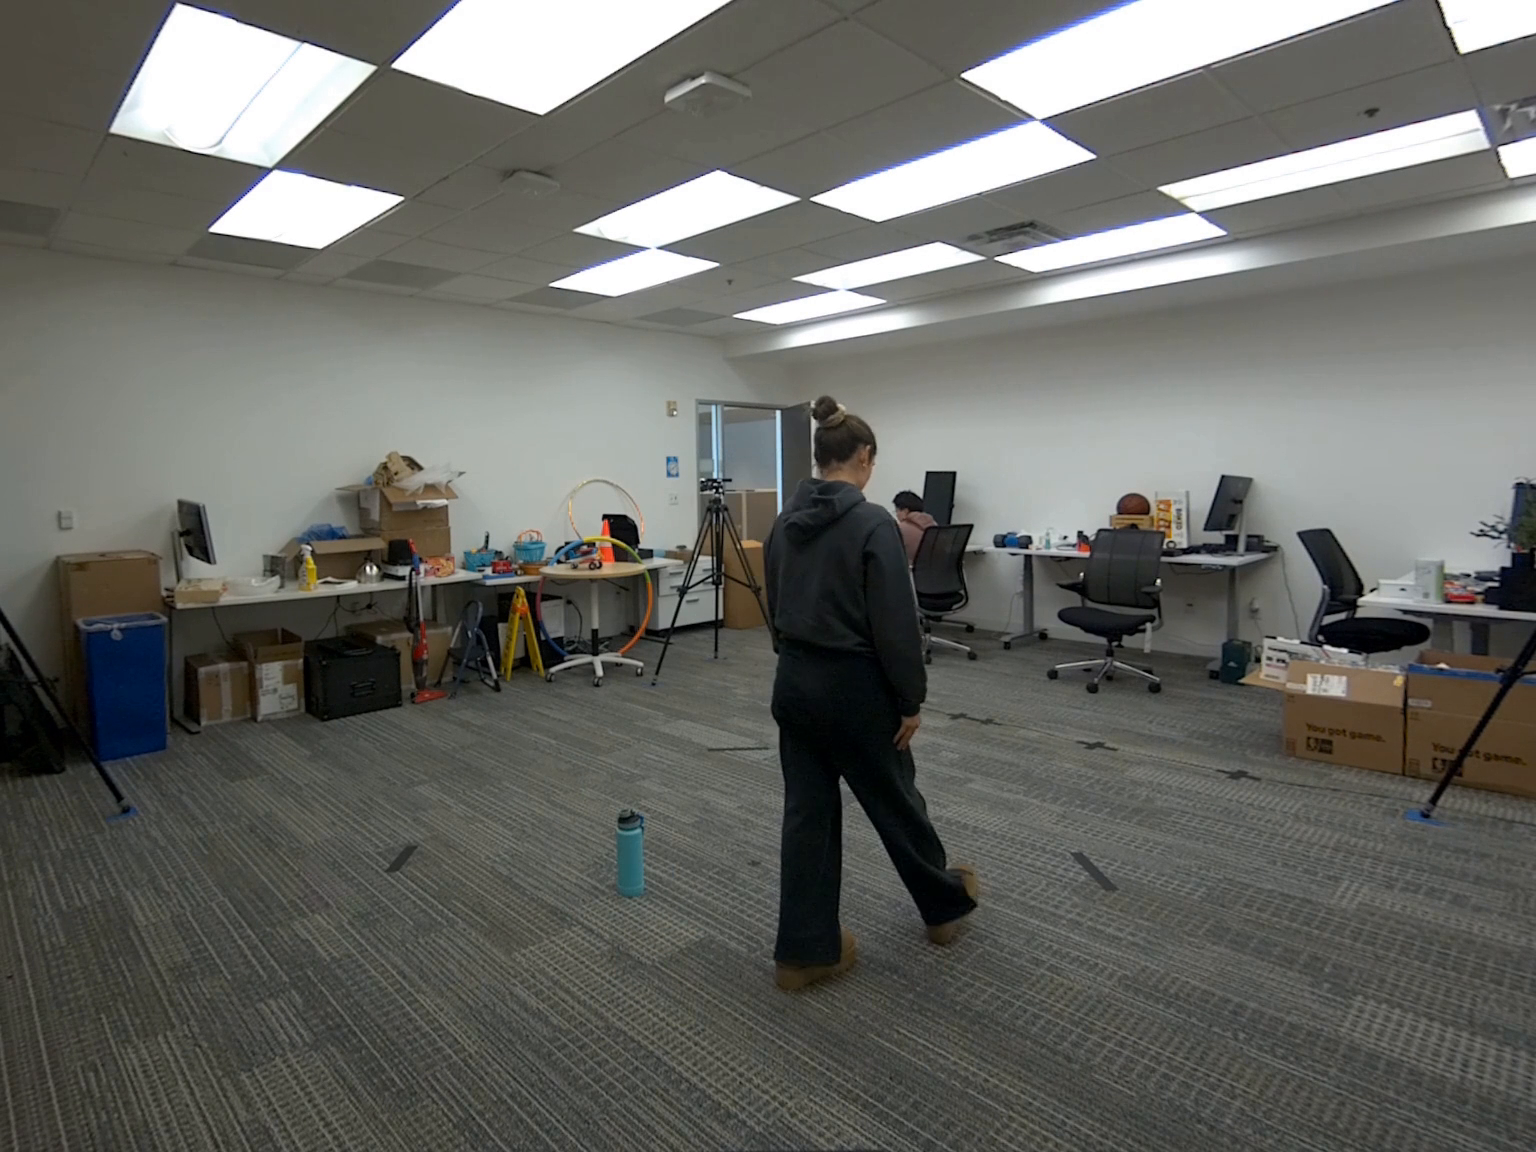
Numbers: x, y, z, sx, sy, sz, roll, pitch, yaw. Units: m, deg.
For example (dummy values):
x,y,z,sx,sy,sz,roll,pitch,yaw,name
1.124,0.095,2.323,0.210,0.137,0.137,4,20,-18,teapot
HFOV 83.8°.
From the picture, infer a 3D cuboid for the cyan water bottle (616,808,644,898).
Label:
x,y,z,sx,sy,sz,roll,pitch,yaw,name
-0.465,0.935,2.890,0.092,0.282,0.093,0,3,-2,cyan water bottle
